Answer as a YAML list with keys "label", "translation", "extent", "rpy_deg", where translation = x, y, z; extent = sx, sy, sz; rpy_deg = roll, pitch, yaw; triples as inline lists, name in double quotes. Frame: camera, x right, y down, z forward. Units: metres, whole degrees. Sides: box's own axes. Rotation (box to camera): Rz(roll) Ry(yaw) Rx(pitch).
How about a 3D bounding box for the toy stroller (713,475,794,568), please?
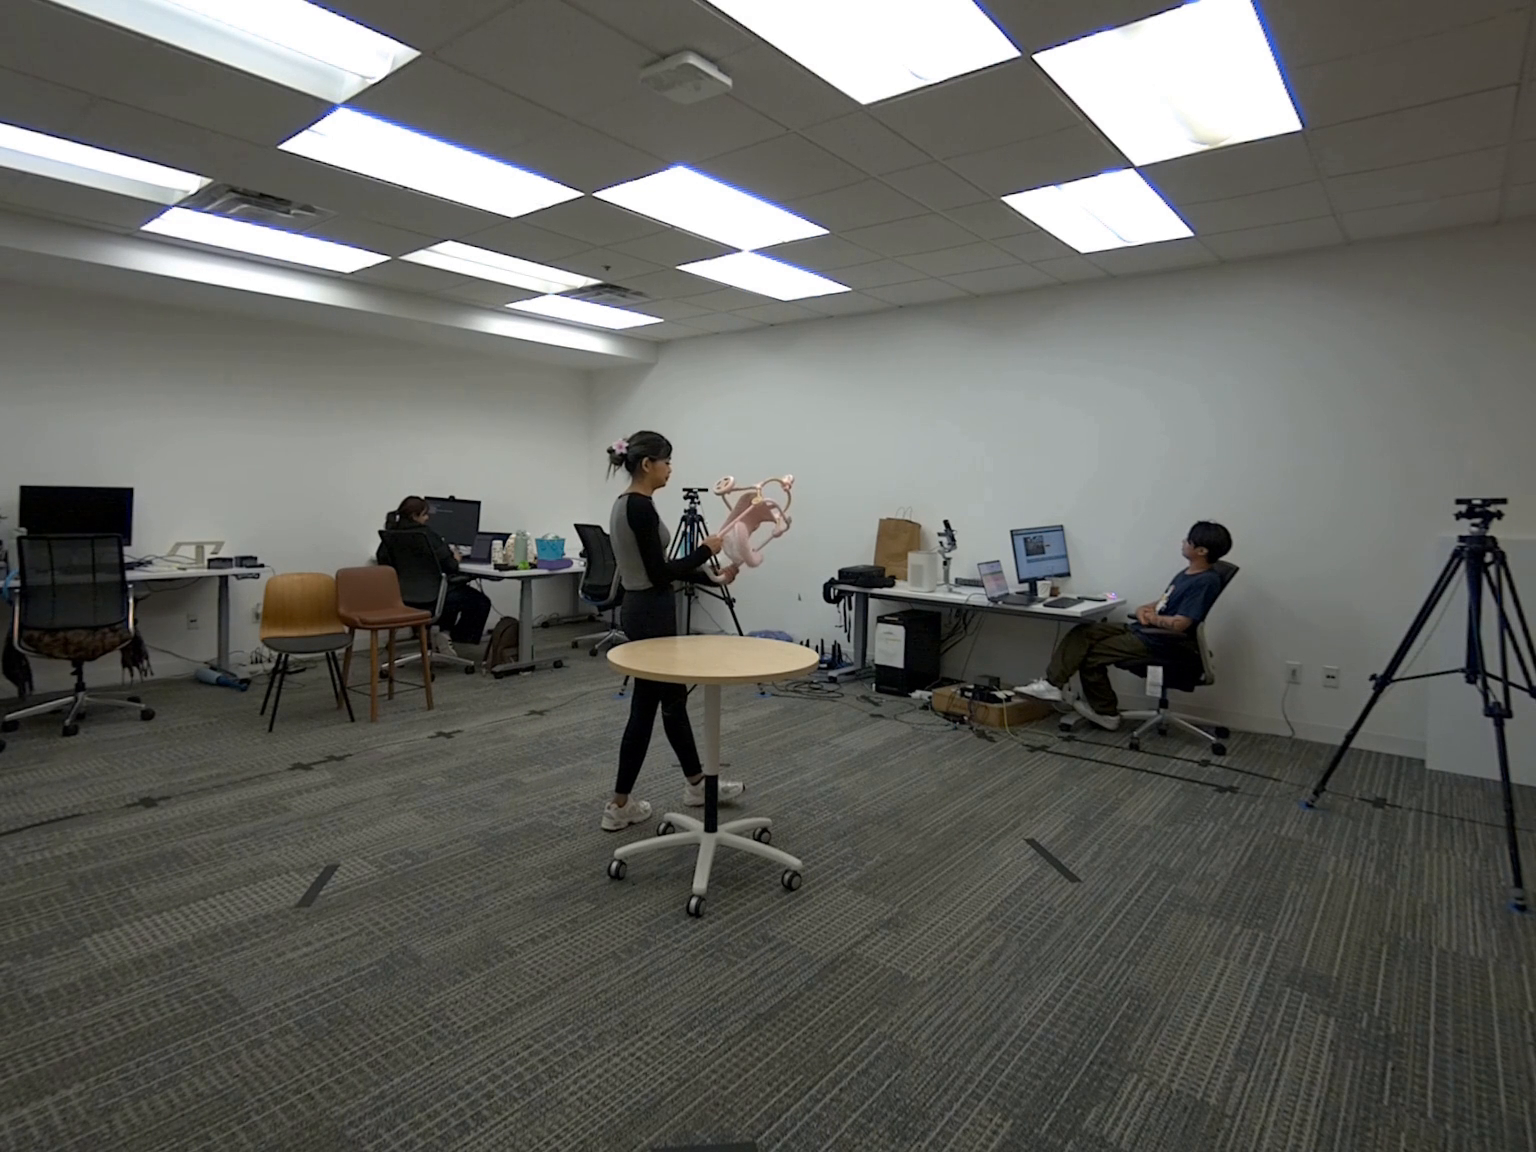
- label: "toy stroller"
  translation: [-0.078, -0.235, 3.720]
  extent: [0.348, 0.271, 0.545]
  rpy_deg: [-9, 42, 24]
